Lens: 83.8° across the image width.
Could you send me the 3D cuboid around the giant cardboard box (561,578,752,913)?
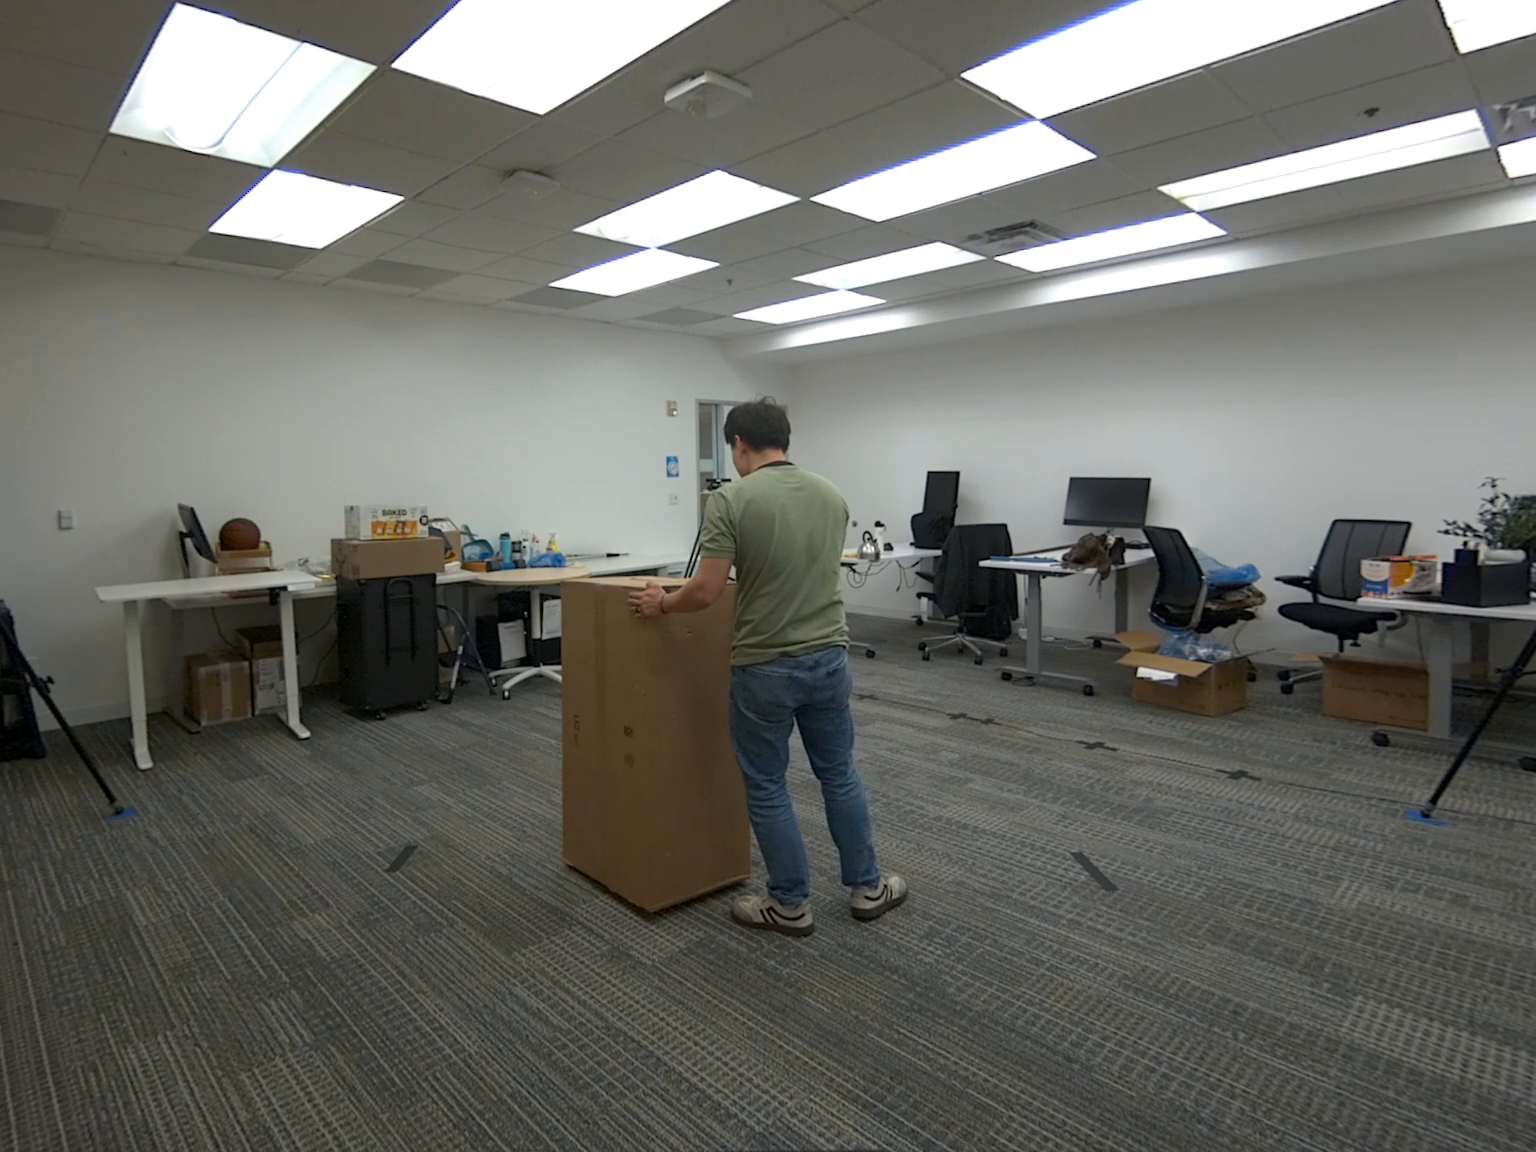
[{"bbox_3d":[-0.404,0.534,3.041,0.414,1.025,0.594,0,1,-41],"label":"giant cardboard box"}]
